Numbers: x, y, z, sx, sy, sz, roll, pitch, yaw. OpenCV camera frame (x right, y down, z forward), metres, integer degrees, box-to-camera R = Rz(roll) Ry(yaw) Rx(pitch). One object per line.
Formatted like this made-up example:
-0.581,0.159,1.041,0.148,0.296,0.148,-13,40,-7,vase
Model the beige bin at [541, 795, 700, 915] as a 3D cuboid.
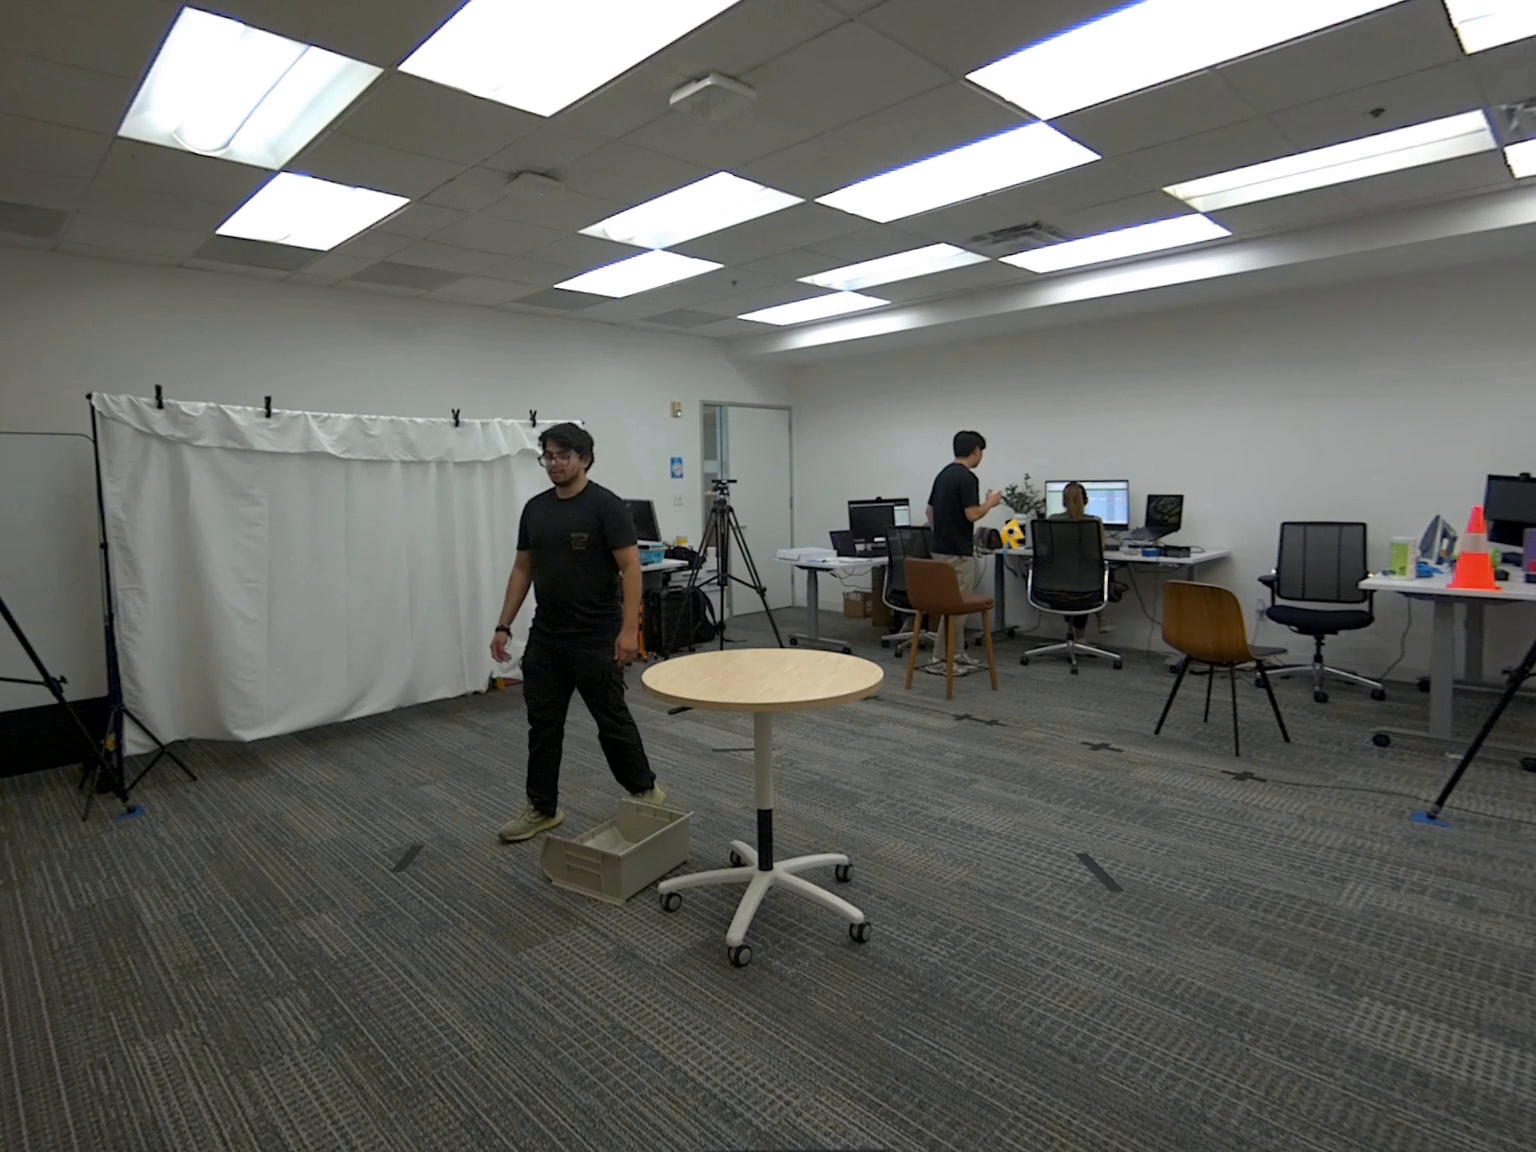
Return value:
-0.523,0.978,3.064,0.387,0.188,0.413,3,7,30,beige bin
